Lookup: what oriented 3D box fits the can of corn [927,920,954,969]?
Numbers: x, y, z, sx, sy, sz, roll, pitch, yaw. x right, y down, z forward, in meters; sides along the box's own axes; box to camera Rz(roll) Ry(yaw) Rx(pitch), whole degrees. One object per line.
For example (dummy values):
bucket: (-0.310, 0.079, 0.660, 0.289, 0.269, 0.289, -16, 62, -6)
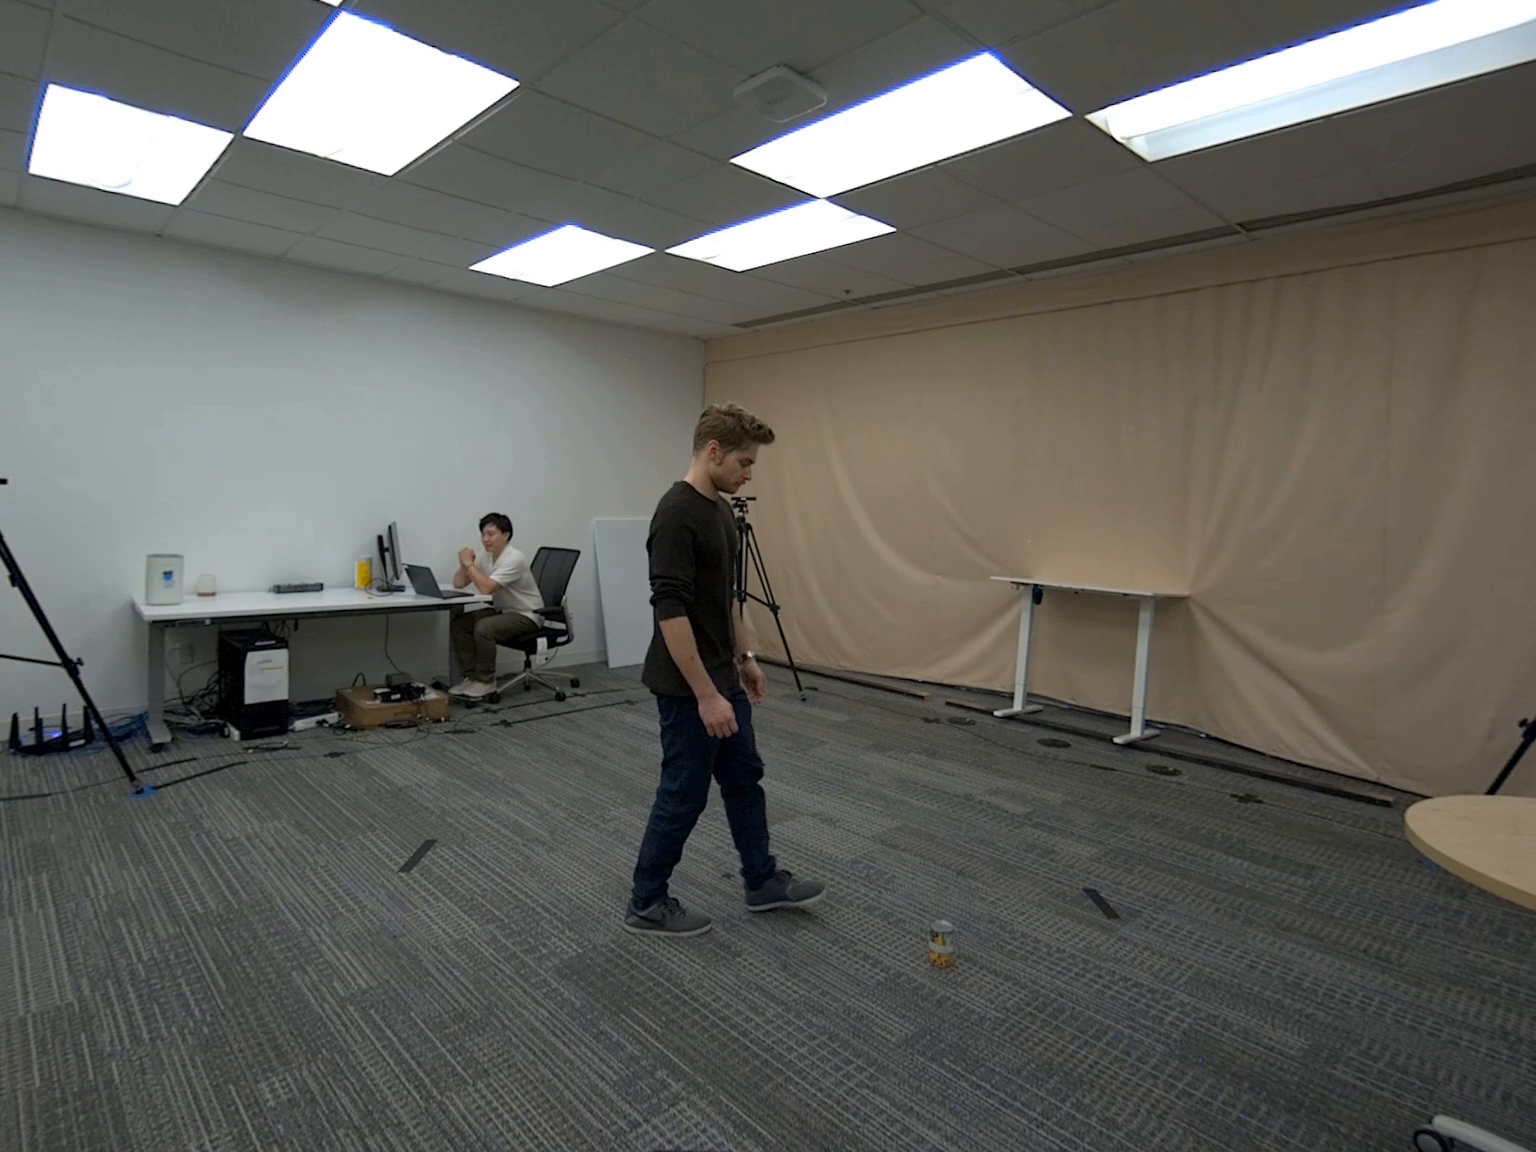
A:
can of corn: (0.518, 1.114, 2.555, 0.074, 0.111, 0.074, 3, 2, -1)
